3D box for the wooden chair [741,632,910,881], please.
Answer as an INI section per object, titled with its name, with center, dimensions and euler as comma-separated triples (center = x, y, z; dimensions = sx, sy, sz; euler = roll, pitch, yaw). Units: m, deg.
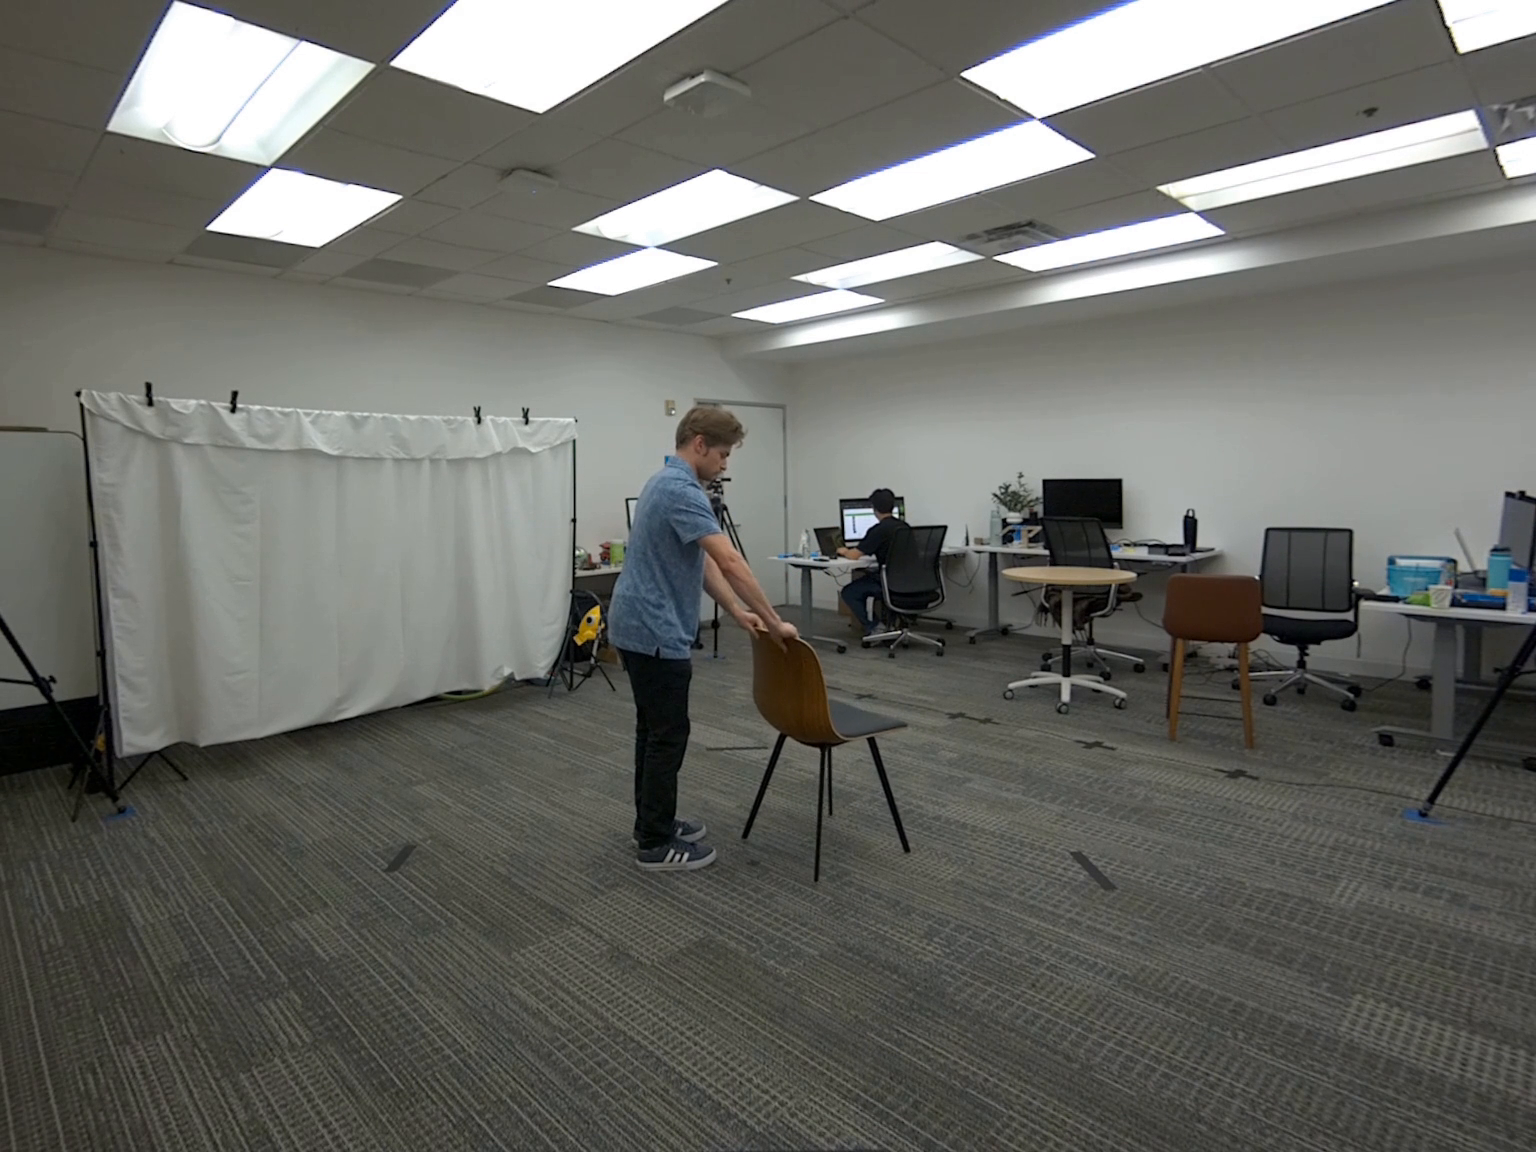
[wooden chair]
center = 0.217, 0.594, 3.210
dimensions = 0.511, 0.872, 0.492
euler = -8, 7, -34
